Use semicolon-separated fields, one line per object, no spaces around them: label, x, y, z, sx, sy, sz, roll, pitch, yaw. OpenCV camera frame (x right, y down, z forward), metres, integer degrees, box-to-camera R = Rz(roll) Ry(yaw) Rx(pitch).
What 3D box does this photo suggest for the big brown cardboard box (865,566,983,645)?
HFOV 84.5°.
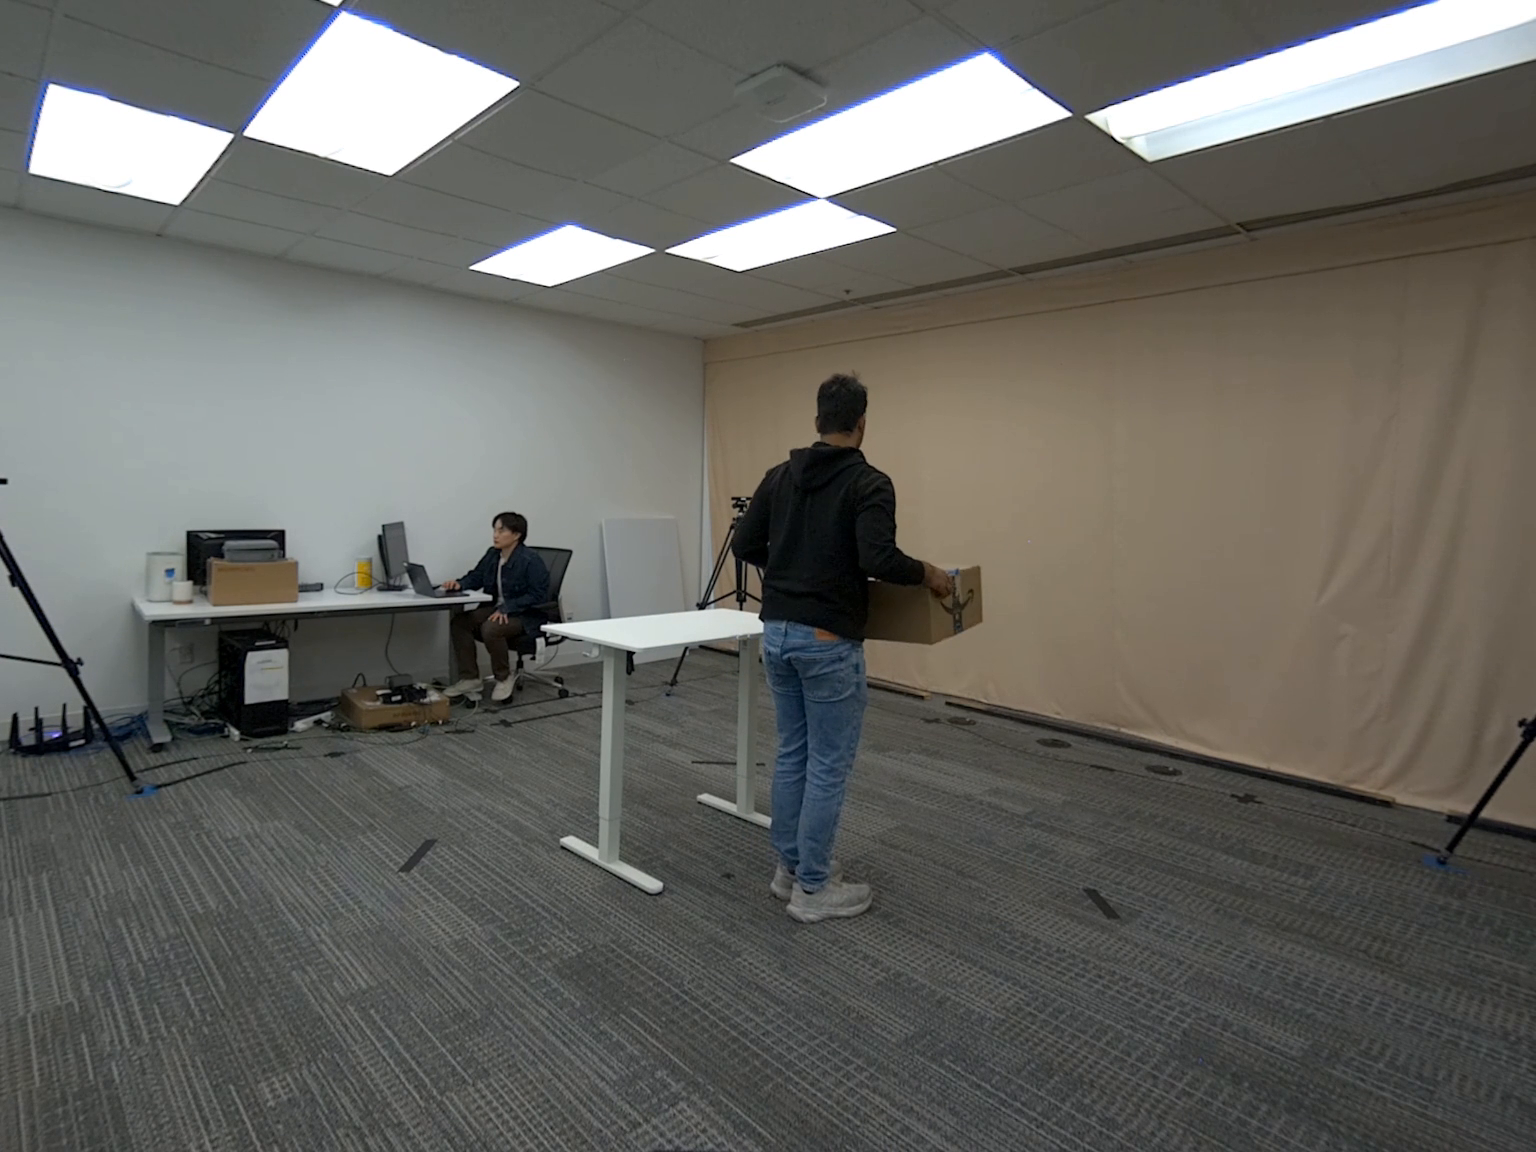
big brown cardboard box;0.425;0.093;3.125;0.603;0.232;0.410;2;10;37
